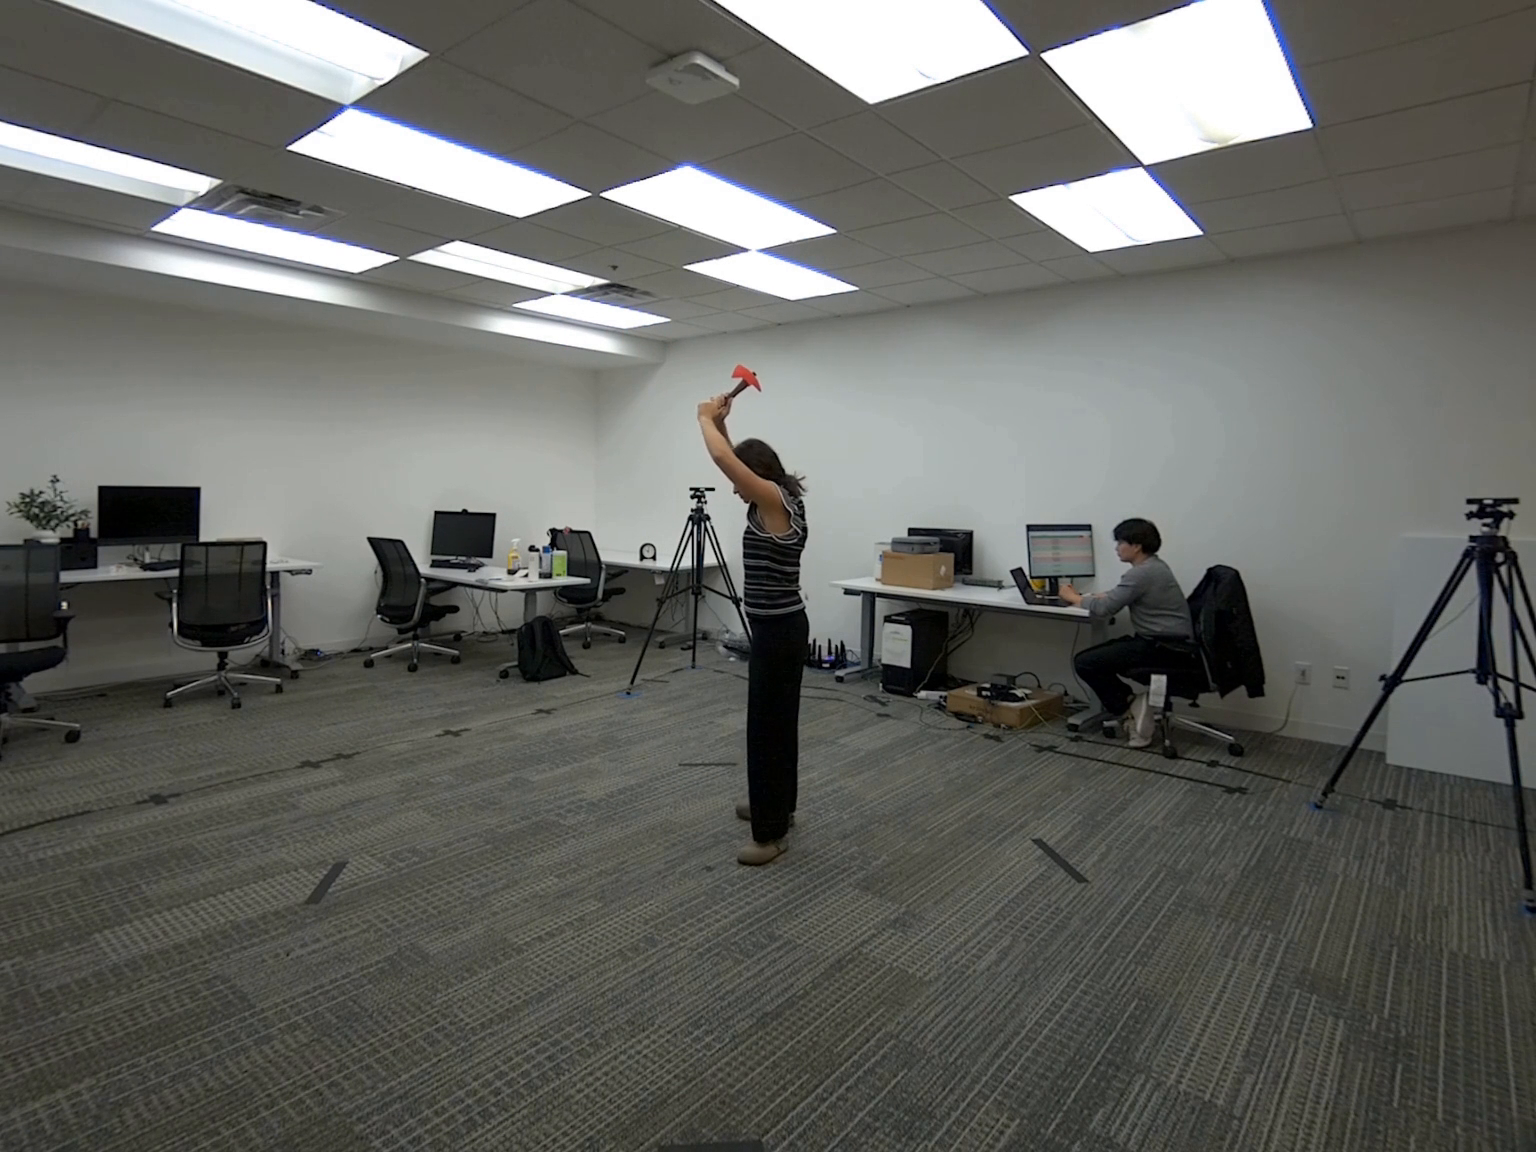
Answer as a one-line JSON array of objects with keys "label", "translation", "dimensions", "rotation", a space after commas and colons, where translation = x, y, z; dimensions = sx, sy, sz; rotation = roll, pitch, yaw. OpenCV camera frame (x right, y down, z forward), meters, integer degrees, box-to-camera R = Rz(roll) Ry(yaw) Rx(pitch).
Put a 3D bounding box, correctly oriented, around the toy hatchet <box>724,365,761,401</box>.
[{"label": "toy hatchet", "translation": [-0.176, -0.739, 3.324], "dimensions": [0.269, 0.129, 0.030], "rotation": [-24, 9, -7]}]
